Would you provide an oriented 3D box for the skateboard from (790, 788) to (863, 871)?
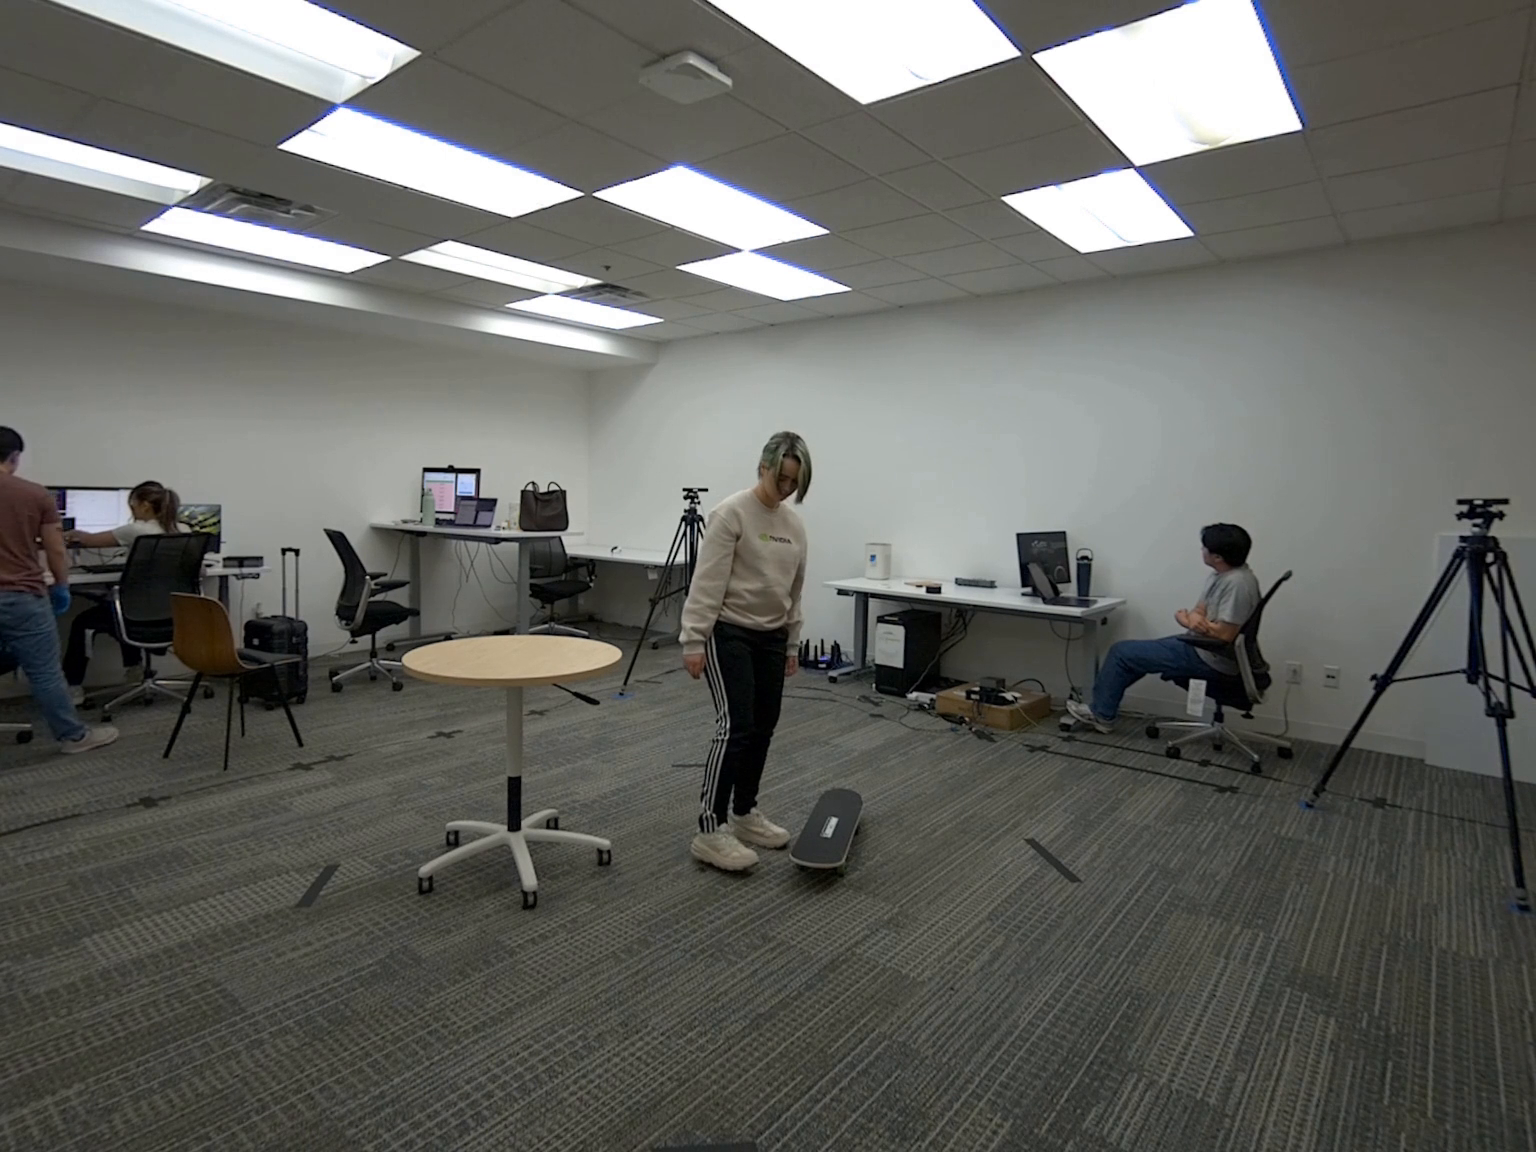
[{"bbox_3d":[0.230,0.998,3.309,0.197,0.110,0.775,3,6,14],"label":"skateboard"}]
